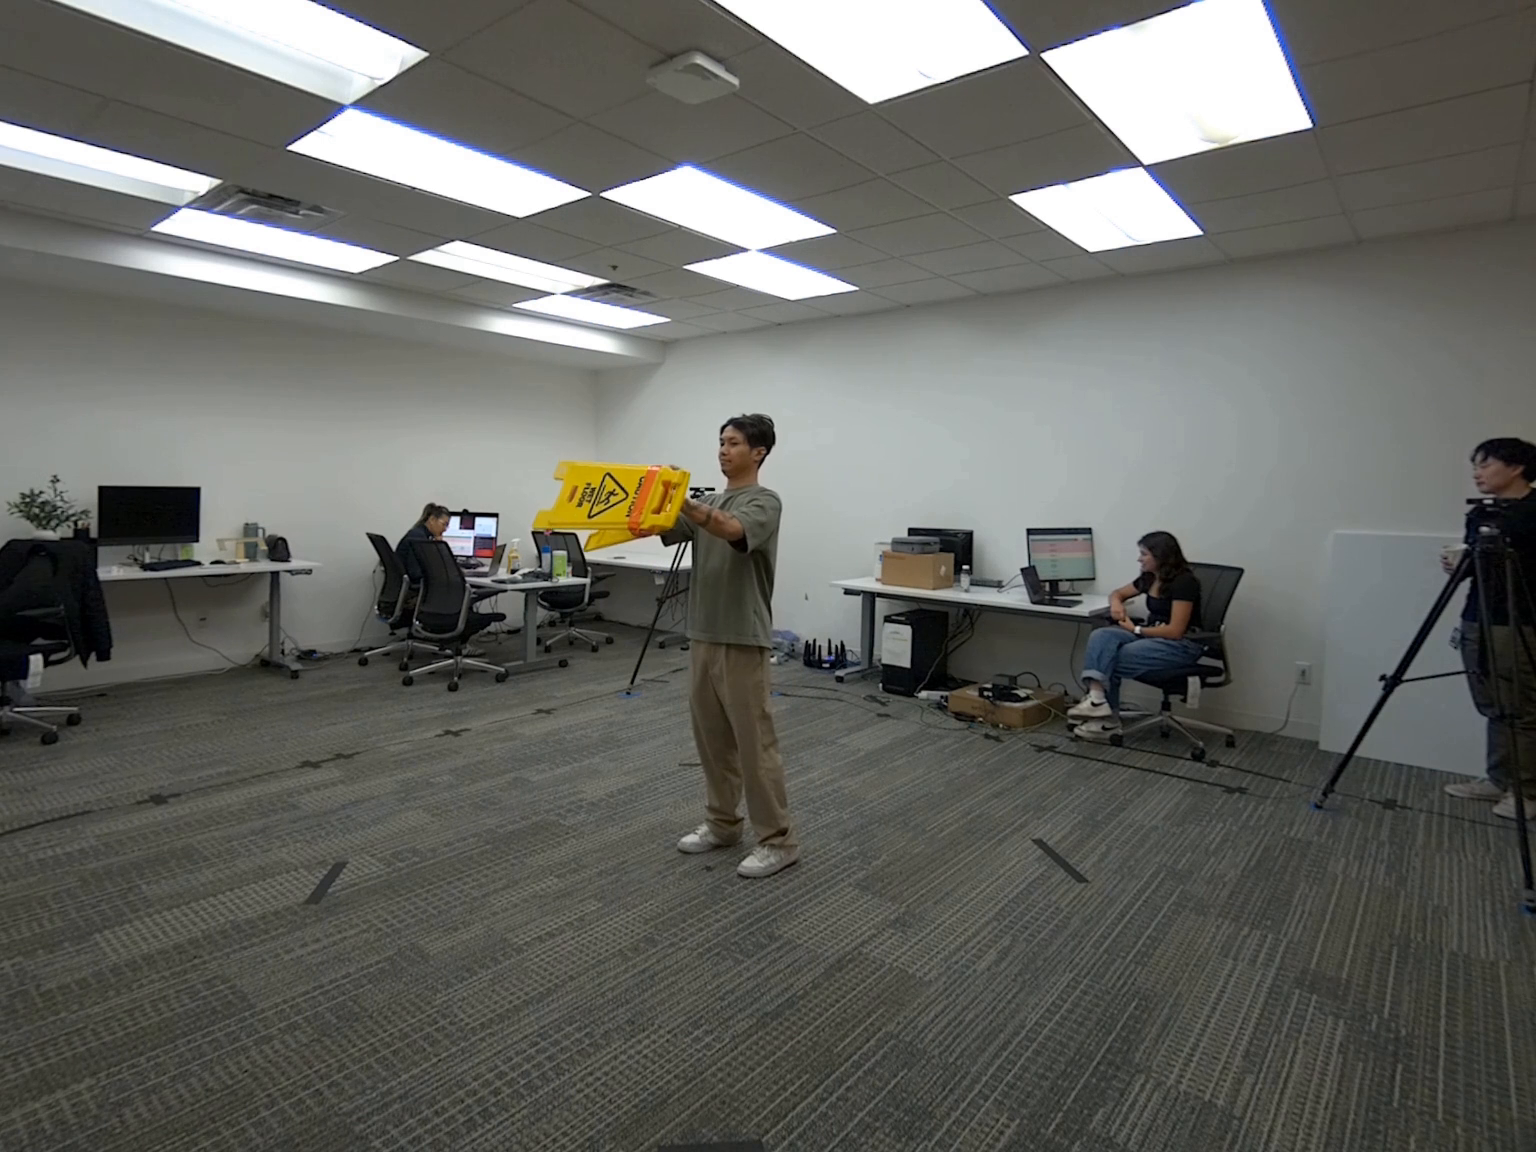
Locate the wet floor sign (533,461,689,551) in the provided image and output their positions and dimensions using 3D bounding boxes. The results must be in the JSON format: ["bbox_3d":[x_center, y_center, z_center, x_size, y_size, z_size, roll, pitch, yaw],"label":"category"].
[{"bbox_3d":[-0.502,-0.245,2.908,0.666,0.285,0.278,1,-22,47],"label":"wet floor sign"}]
